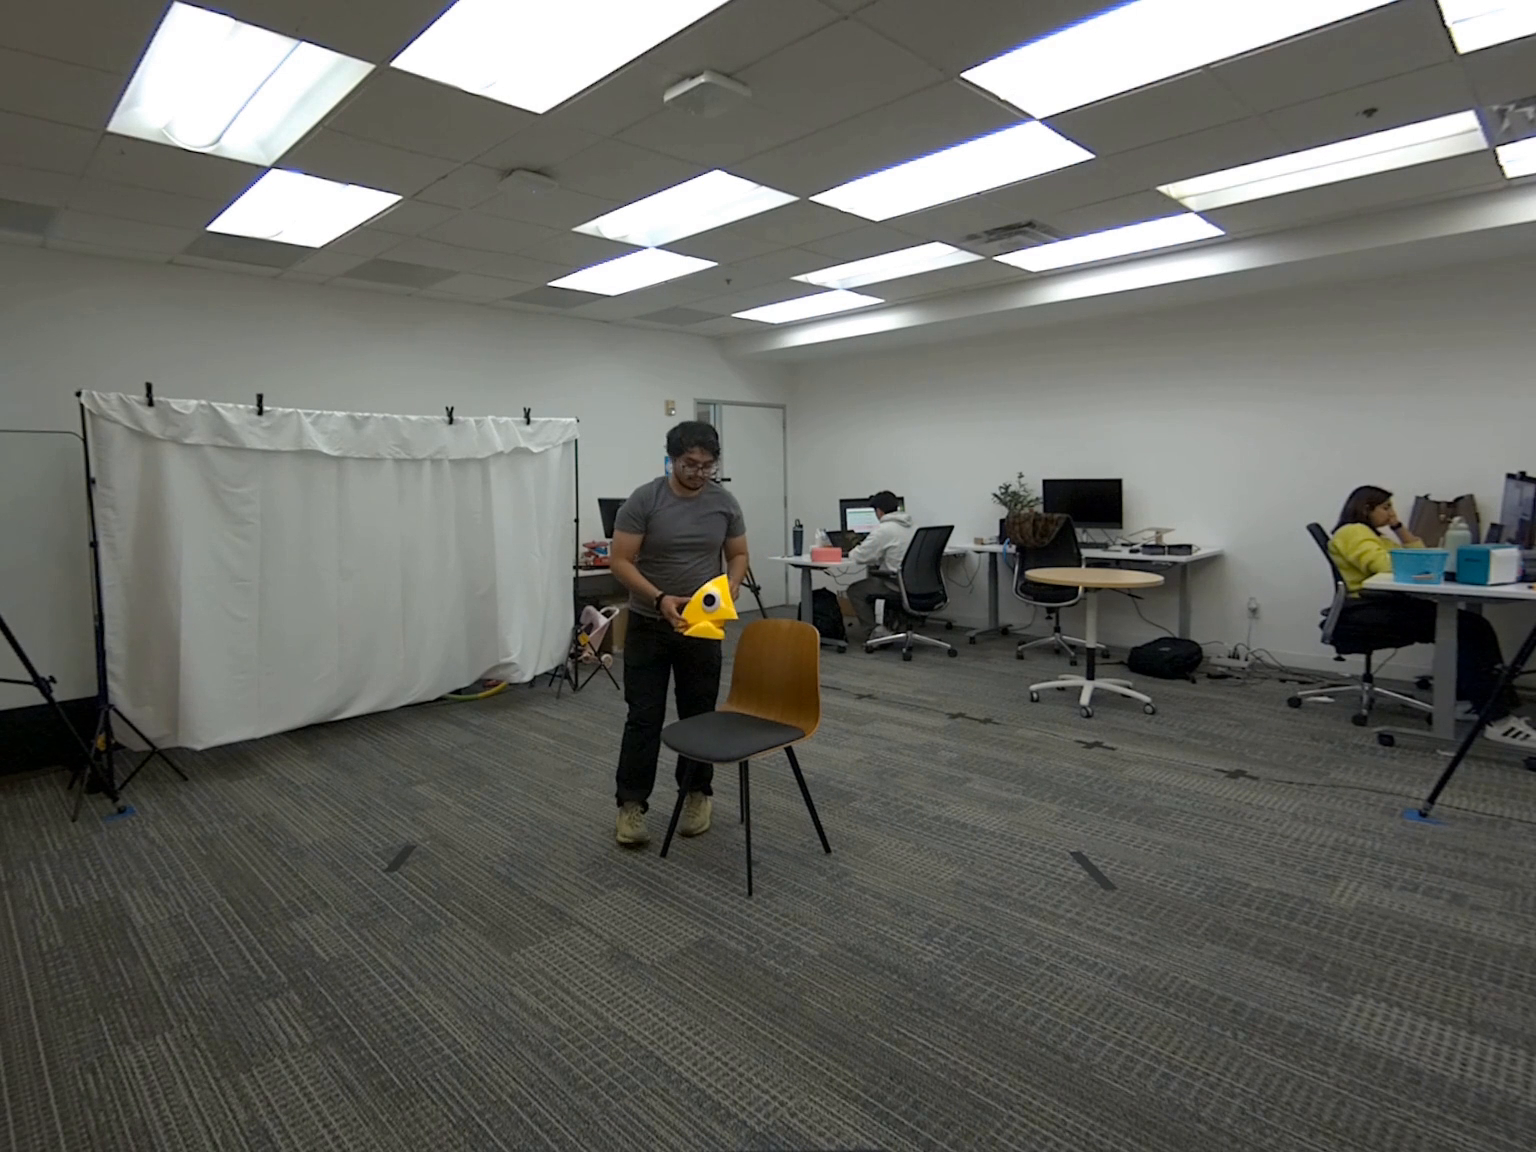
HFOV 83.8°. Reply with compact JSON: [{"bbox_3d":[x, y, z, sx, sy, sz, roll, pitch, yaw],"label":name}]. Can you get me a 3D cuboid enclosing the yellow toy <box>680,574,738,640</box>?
[{"bbox_3d":[-0.233,0.105,3.112,0.189,0.231,0.209,7,-1,-20],"label":"yellow toy"}]
